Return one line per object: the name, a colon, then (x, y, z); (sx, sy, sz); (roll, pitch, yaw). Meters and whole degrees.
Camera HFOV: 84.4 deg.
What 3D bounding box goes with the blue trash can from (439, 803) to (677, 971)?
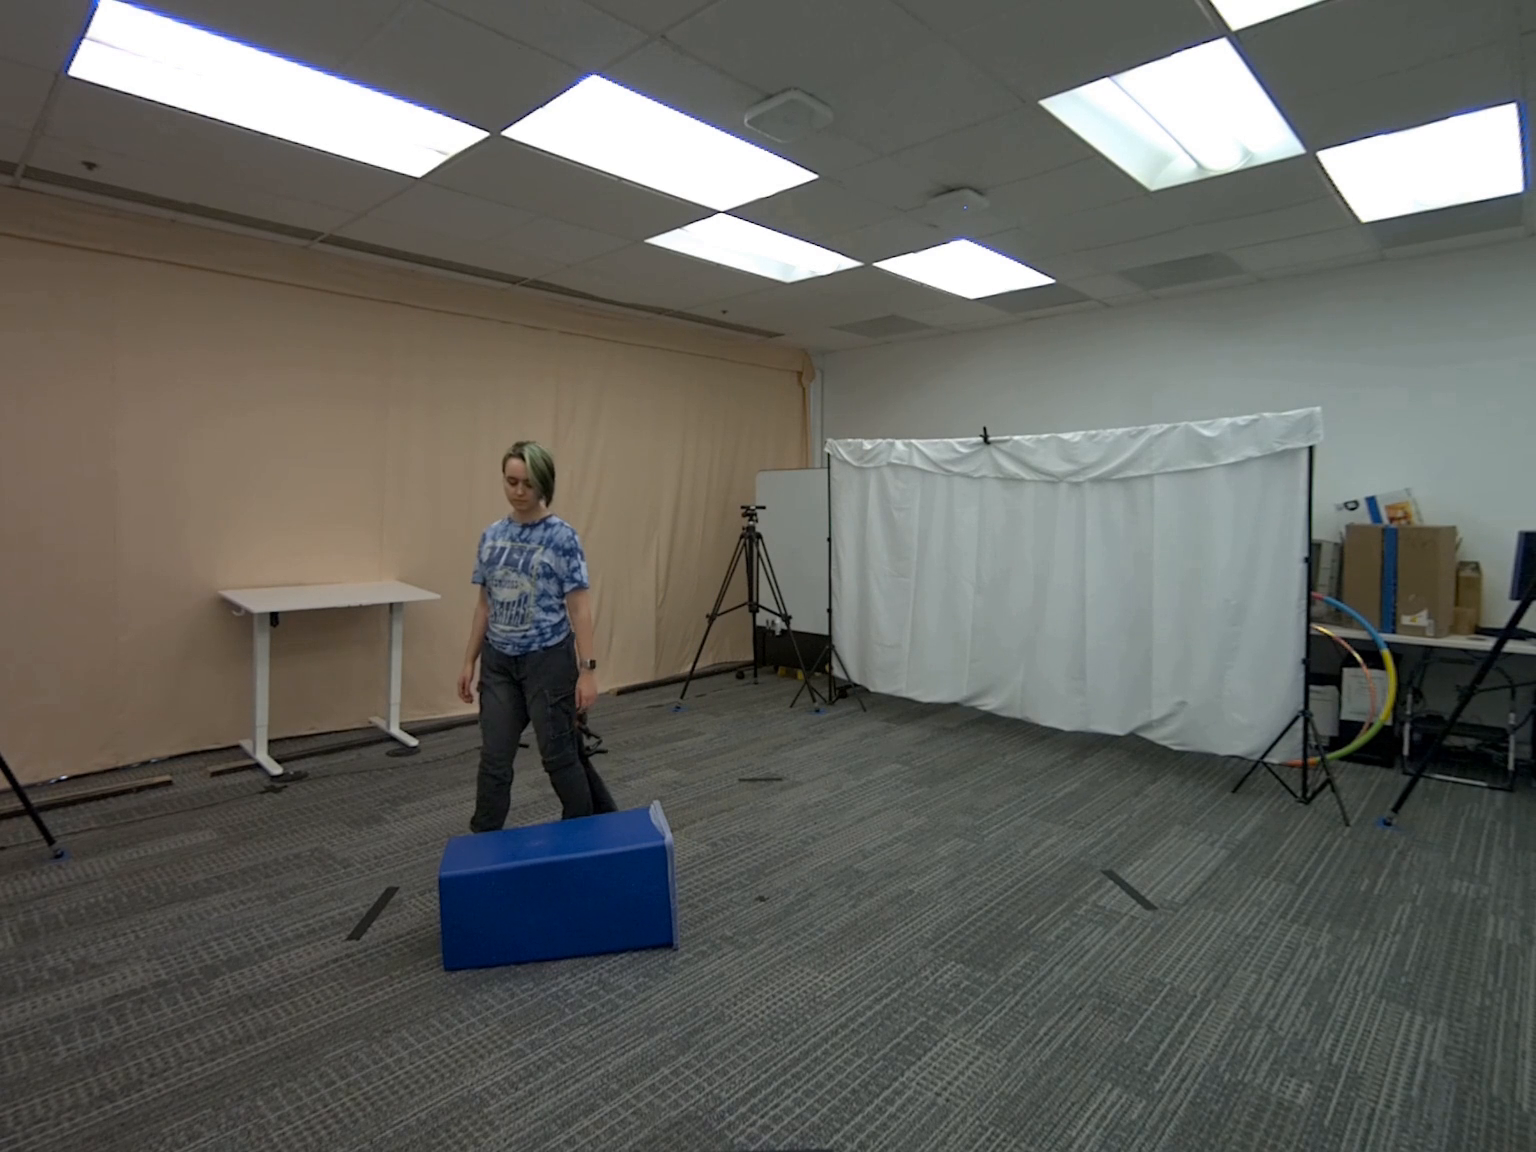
blue trash can: (-0.668, 0.996, 2.724); (0.704, 0.373, 0.384); (-3, 4, -12)
